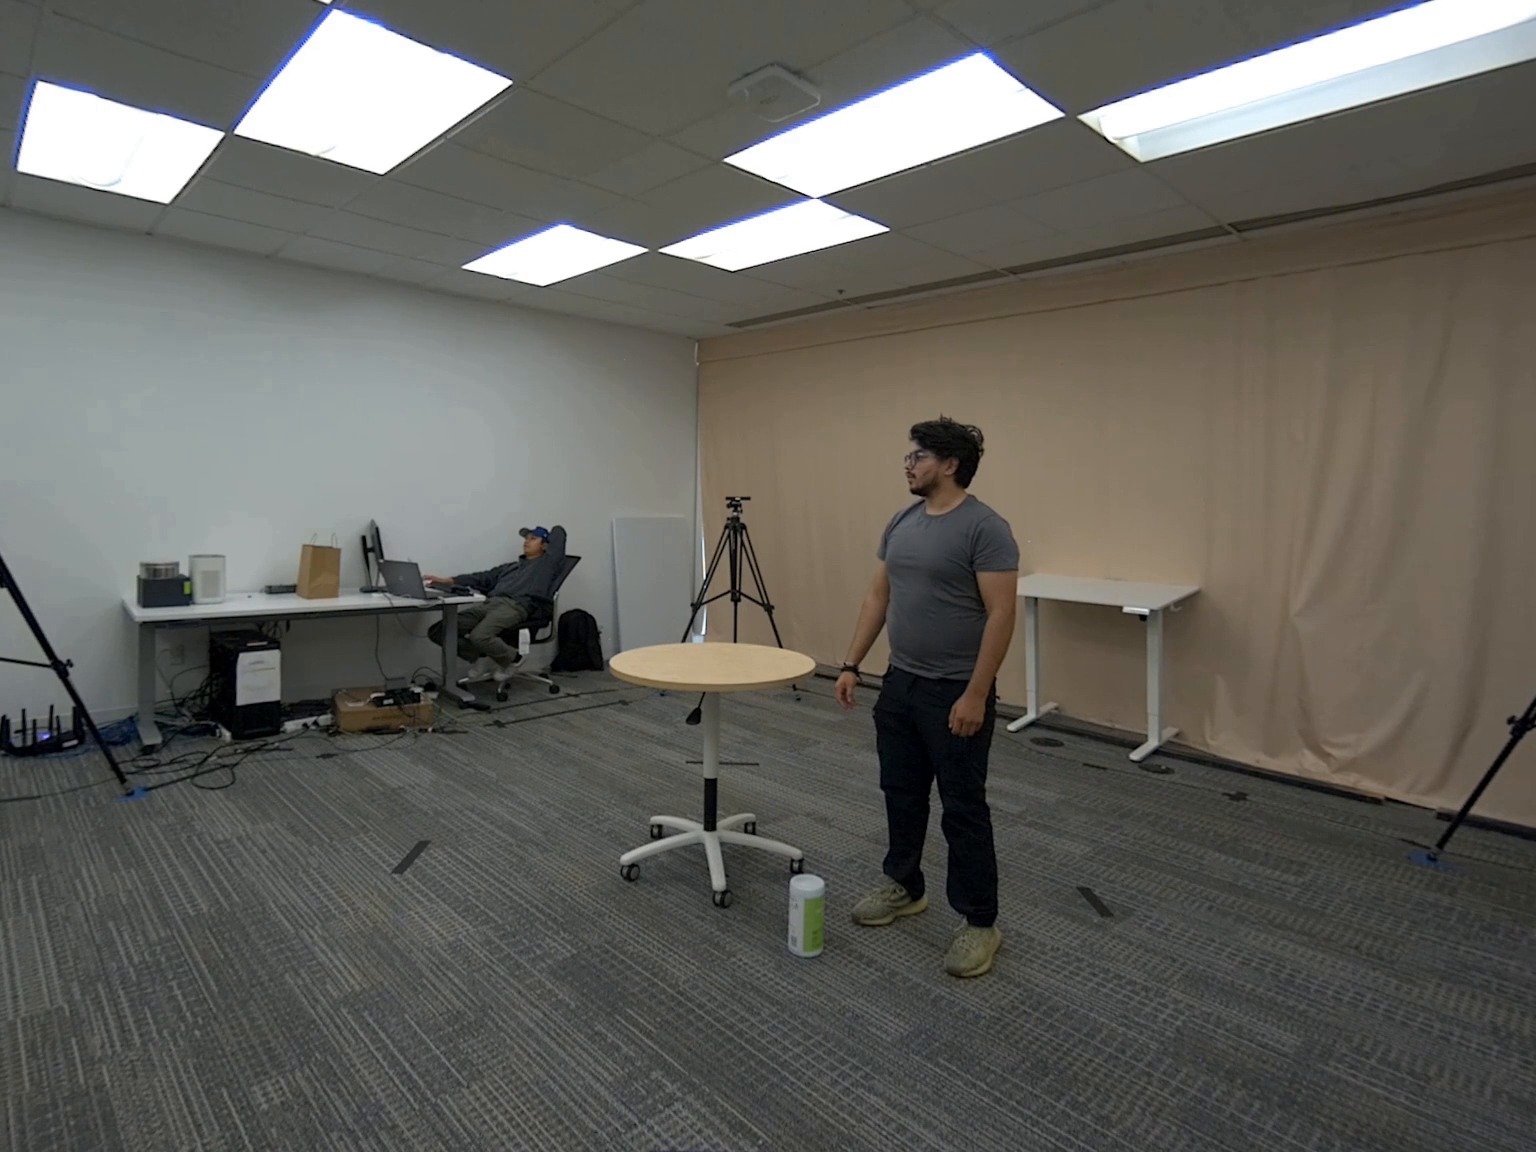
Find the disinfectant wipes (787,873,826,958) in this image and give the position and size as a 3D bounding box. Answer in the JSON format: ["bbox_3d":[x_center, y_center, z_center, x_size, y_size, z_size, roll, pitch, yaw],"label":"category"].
[{"bbox_3d":[0.118,1.047,2.607,0.118,0.217,0.118,0,3,-1],"label":"disinfectant wipes"}]
